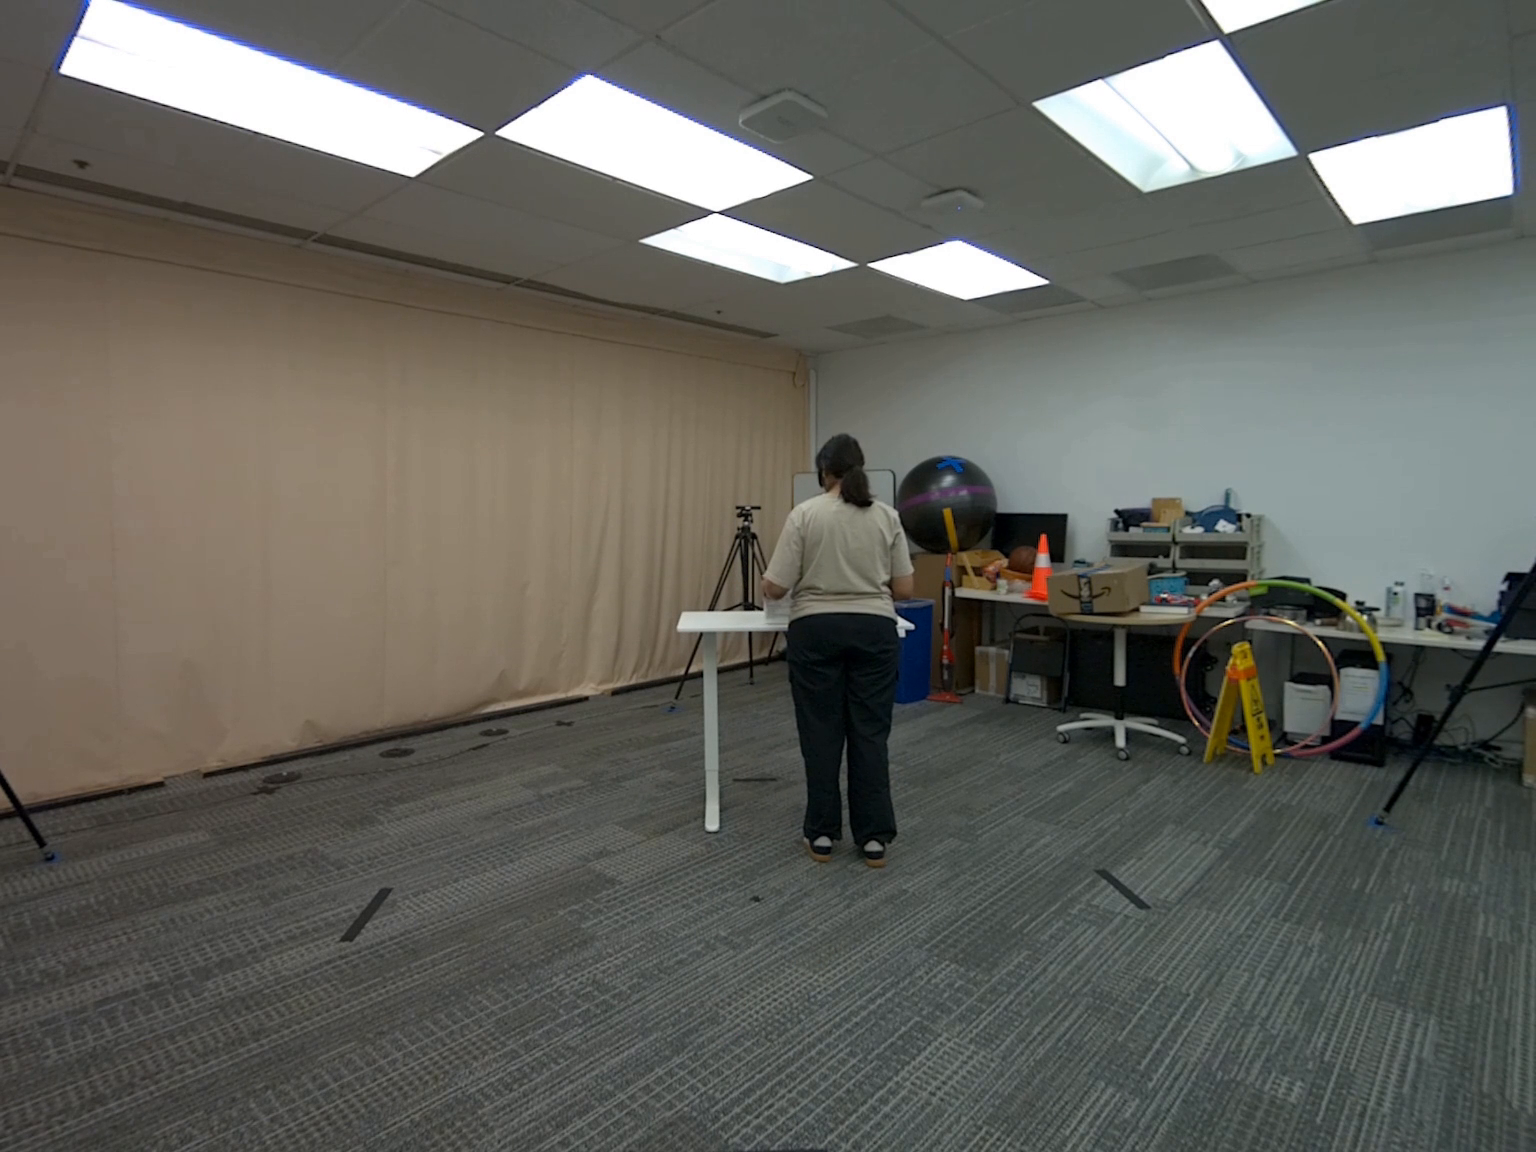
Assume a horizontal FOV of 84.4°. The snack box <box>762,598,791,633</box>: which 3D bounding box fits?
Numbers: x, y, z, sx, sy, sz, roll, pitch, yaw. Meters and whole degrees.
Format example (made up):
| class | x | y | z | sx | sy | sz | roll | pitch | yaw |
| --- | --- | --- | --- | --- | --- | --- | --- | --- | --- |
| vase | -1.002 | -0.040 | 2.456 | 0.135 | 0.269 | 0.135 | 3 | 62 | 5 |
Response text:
| class | x | y | z | sx | sy | sz | roll | pitch | yaw |
| --- | --- | --- | --- | --- | --- | --- | --- | --- | --- |
| snack box | 0.159 | 0.092 | 3.811 | 0.342 | 0.205 | 0.404 | 0 | 4 | 2 |
